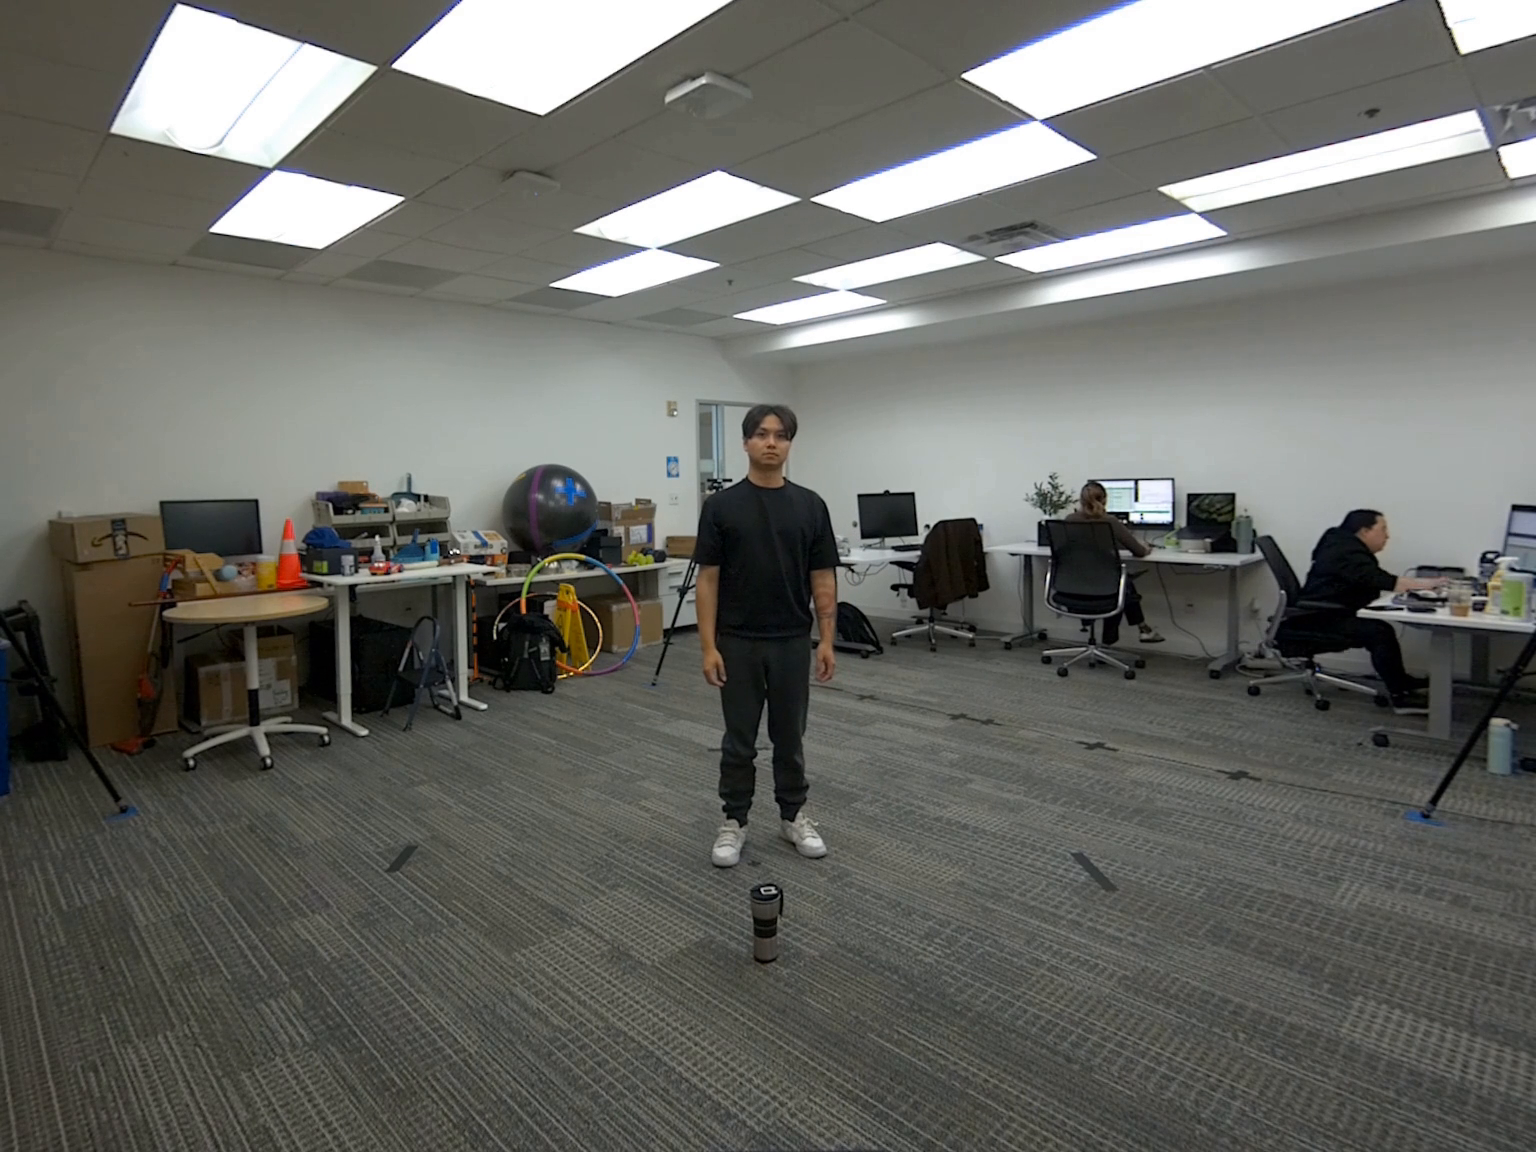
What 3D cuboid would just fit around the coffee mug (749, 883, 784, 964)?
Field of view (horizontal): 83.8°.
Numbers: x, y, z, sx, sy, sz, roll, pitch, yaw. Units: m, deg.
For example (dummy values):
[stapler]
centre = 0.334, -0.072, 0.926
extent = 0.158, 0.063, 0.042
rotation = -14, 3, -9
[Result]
[coffee mug]
centre = 0.015, 1.017, 2.503
extent = 0.090, 0.202, 0.119
rotation = -2, 5, 42
